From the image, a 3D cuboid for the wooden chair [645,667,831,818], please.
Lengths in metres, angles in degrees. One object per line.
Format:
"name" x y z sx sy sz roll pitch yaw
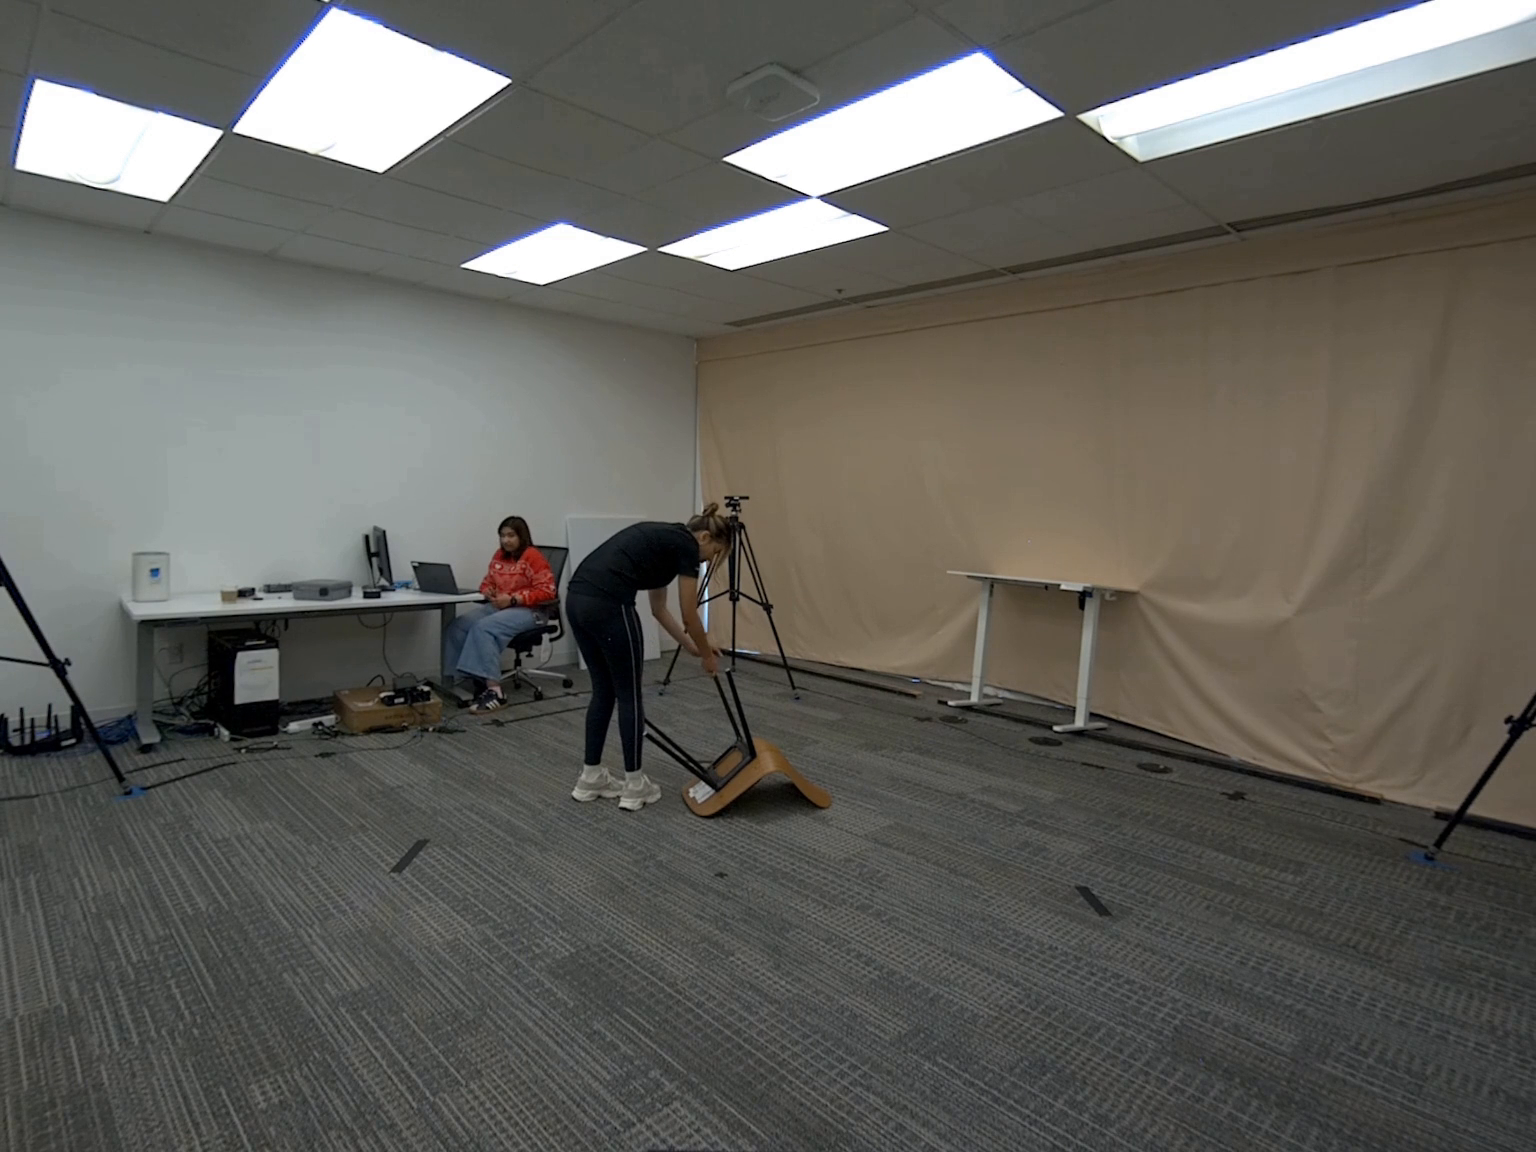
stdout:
"wooden chair" -0.191 0.862 3.874 0.522 0.866 0.485 -40 12 -10
